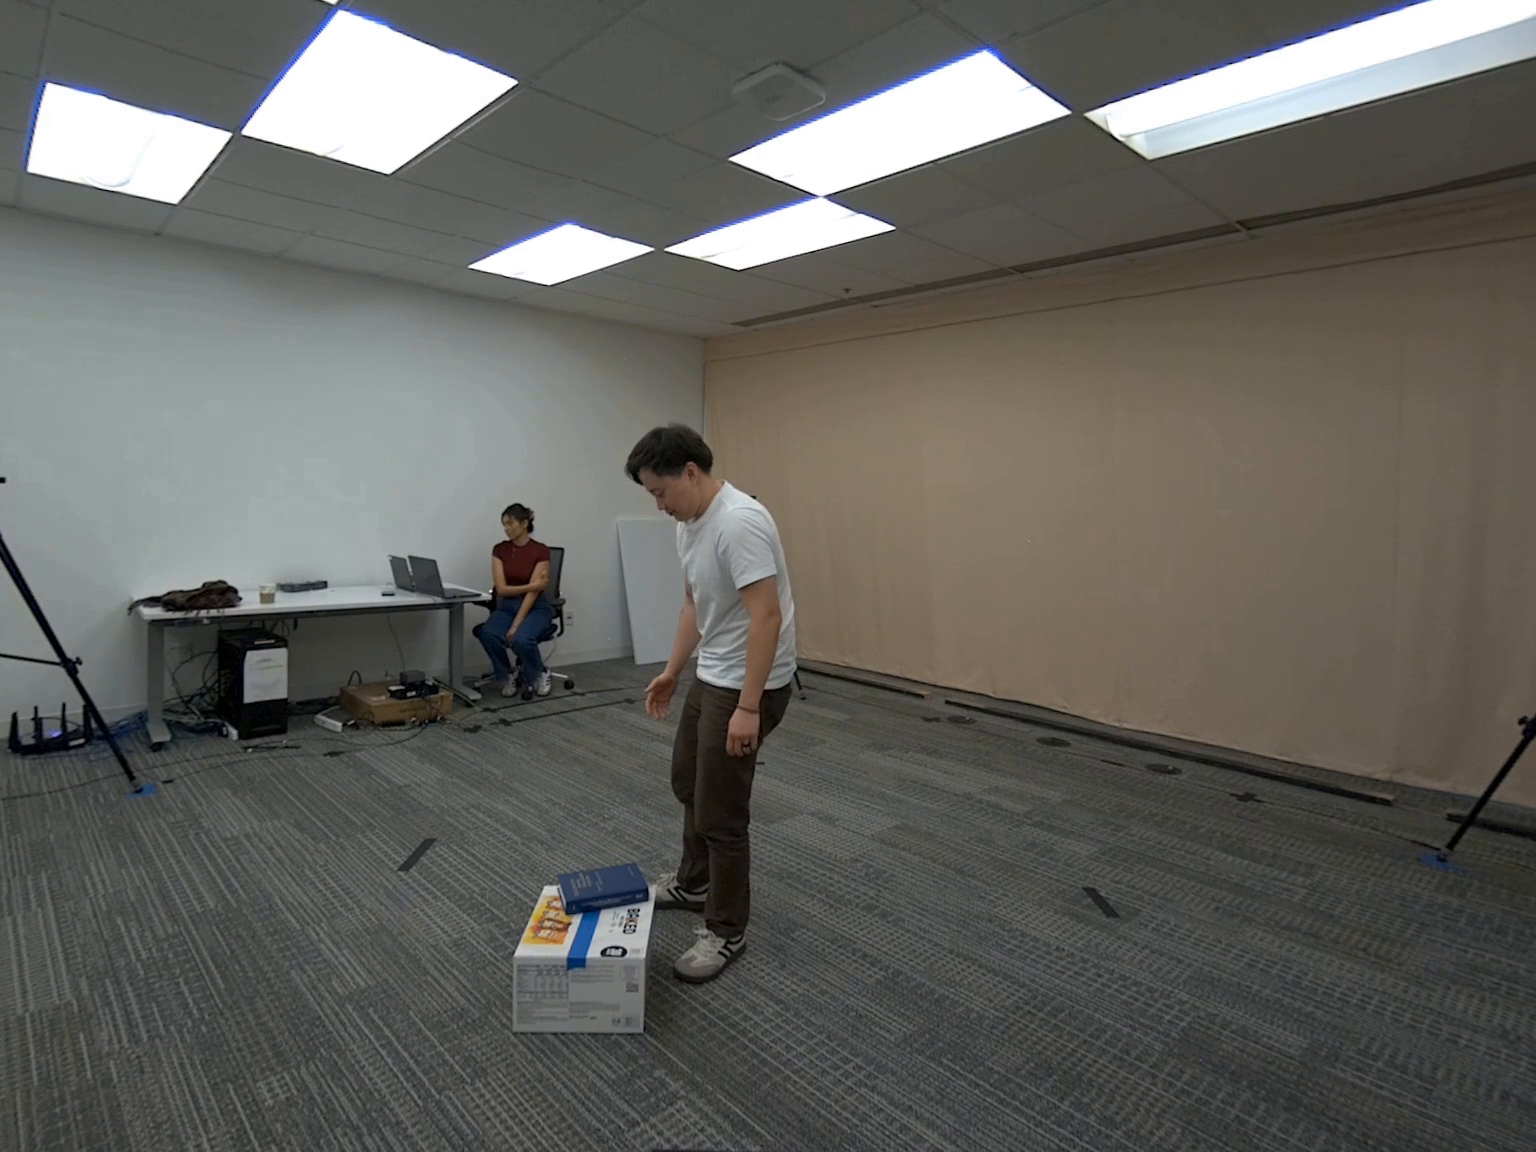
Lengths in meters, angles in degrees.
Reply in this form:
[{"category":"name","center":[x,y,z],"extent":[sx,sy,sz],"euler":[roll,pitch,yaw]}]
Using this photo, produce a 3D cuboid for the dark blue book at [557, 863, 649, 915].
[{"category":"dark blue book","center":[-0.499,0.925,2.502],"extent":[0.241,0.045,0.167],"euler":[-2,9,-21]}]
